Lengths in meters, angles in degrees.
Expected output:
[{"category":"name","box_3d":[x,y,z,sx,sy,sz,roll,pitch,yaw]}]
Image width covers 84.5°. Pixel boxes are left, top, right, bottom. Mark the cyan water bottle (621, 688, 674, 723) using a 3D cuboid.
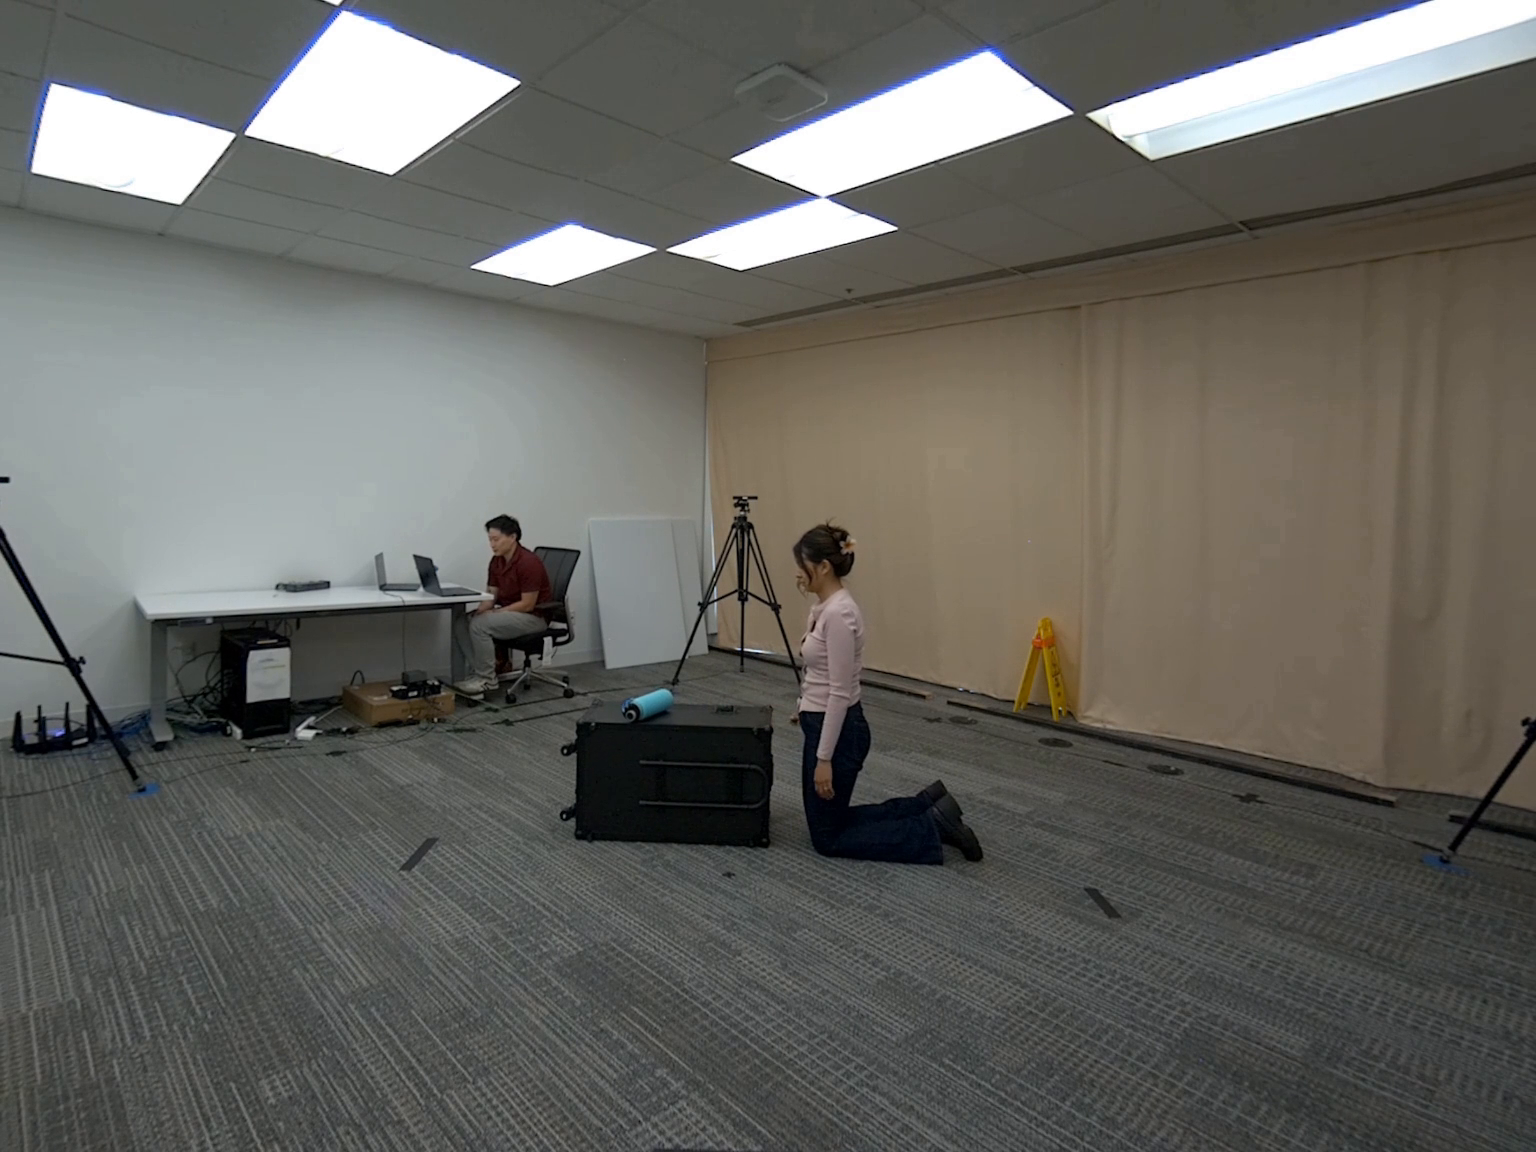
[{"category":"cyan water bottle","box_3d":[-0.501,0.530,3.459,0.094,0.092,0.278,3,5,25]}]
